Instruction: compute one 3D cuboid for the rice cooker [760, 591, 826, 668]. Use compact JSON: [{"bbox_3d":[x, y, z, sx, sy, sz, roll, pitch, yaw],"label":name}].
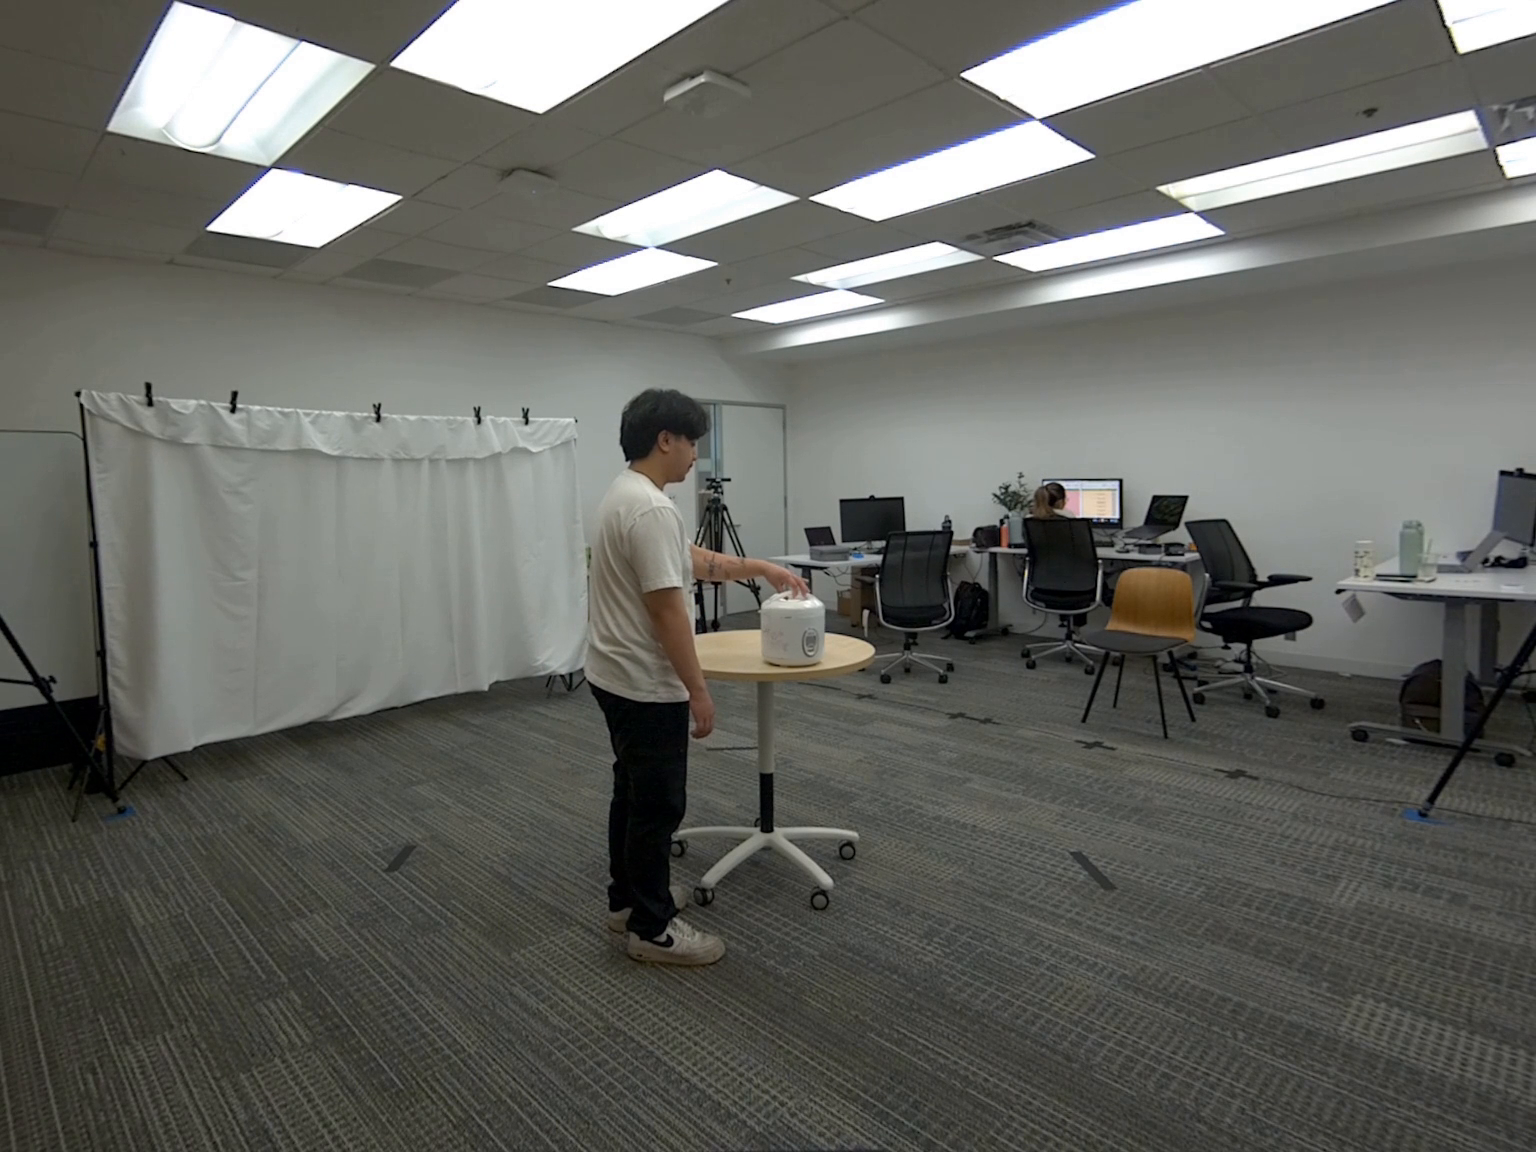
[{"bbox_3d":[0.084,0.163,2.773,0.216,0.232,0.223,-4,5,-28],"label":"rice cooker"}]
